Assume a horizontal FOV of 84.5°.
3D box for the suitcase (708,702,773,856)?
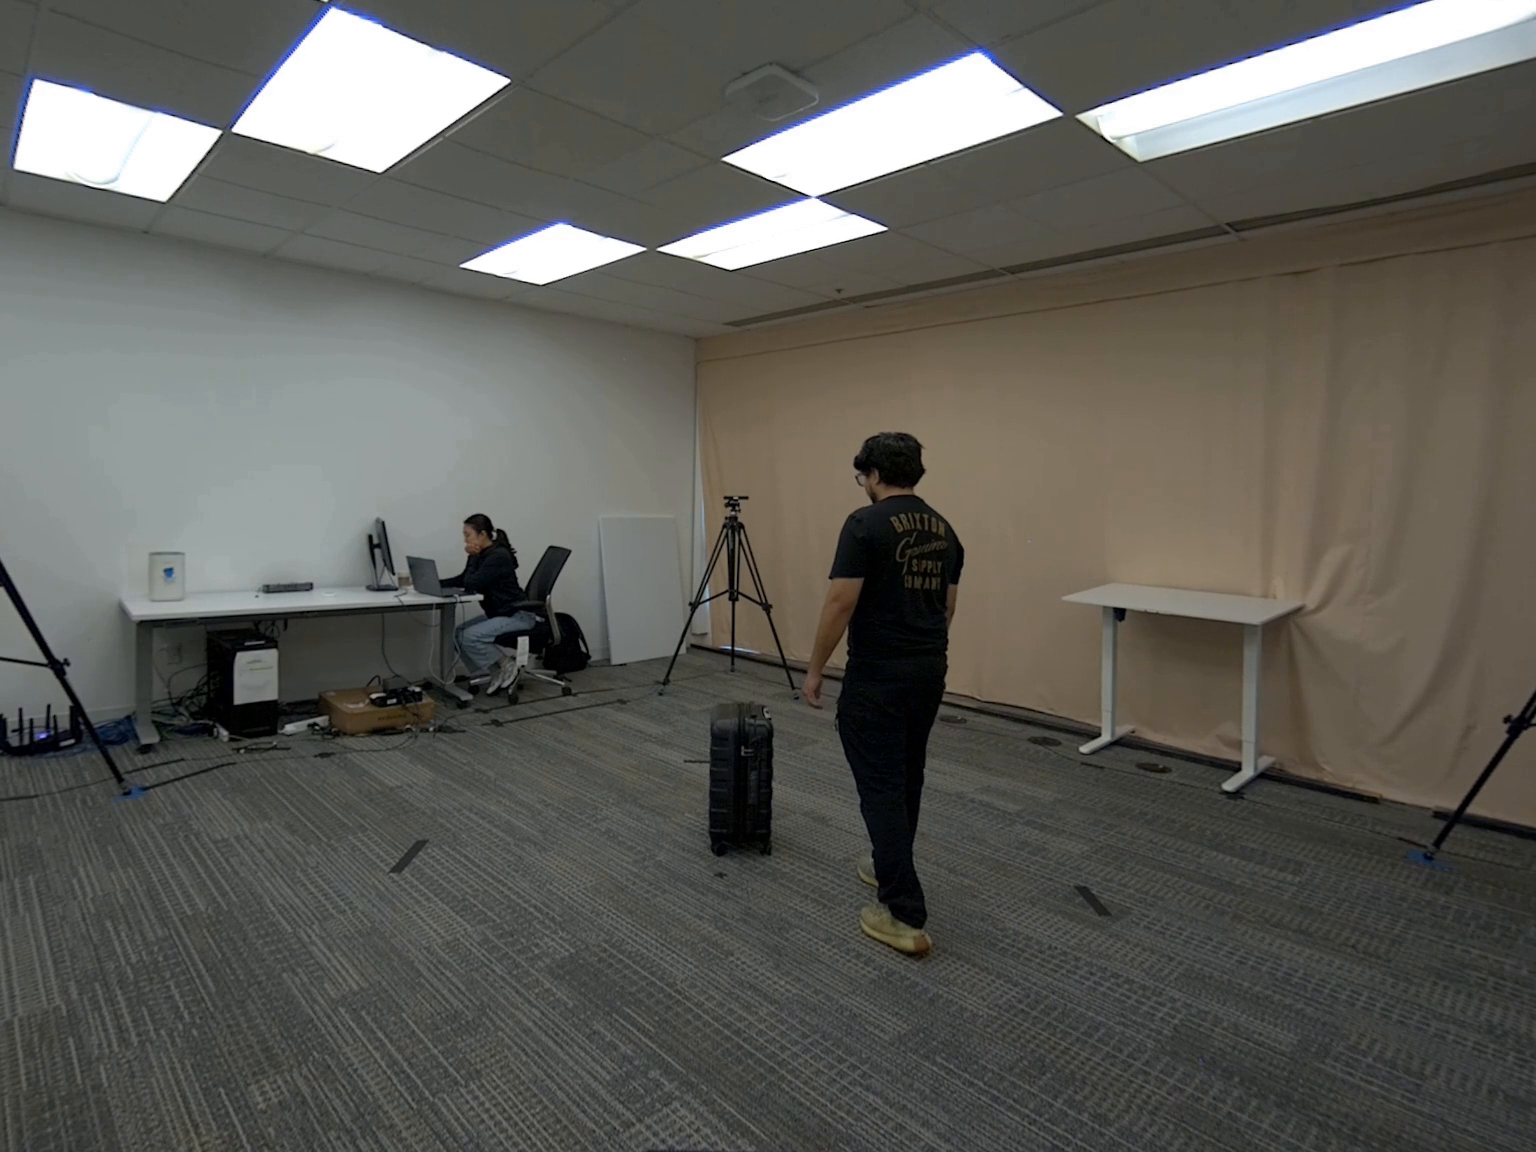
[{"bbox_3d":[-0.113,0.801,3.409,0.248,0.548,0.377,1,4,-4],"label":"suitcase"}]
